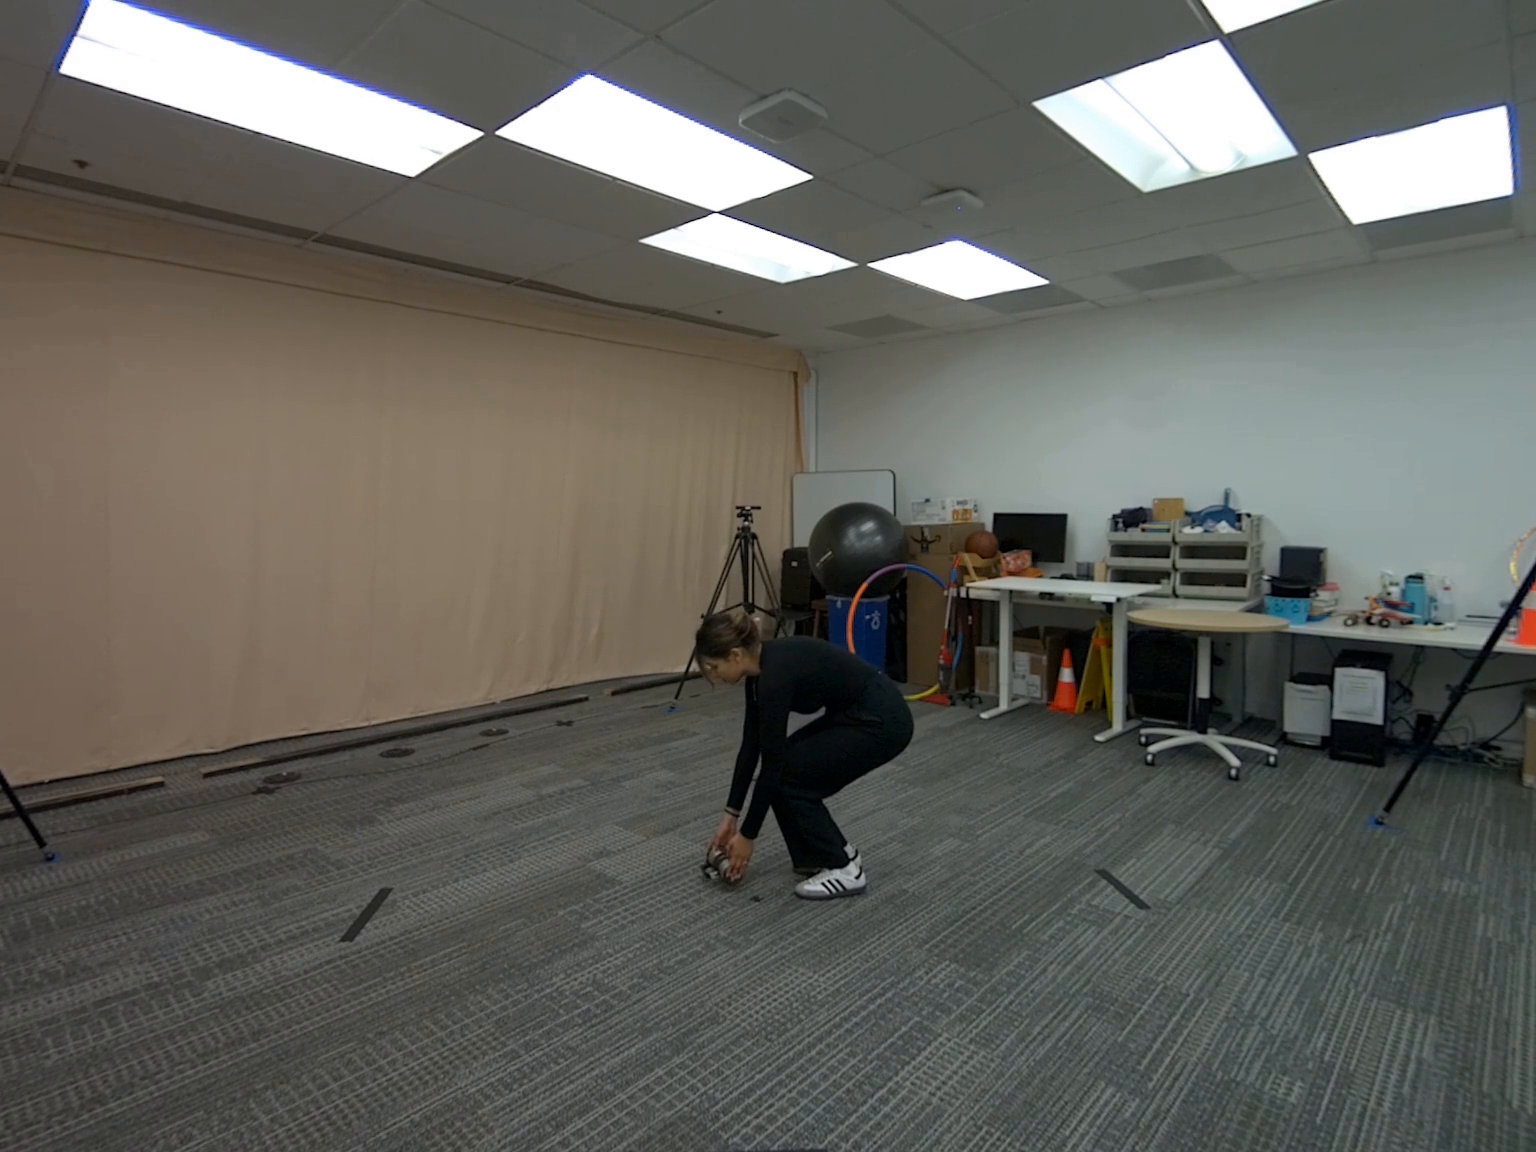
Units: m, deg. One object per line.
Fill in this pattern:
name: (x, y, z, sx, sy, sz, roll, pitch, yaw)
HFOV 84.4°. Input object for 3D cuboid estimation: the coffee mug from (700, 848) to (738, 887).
coffee mug: (-0.165, 1.072, 3.109, 0.086, 0.122, 0.207, 42, -11, -17)
